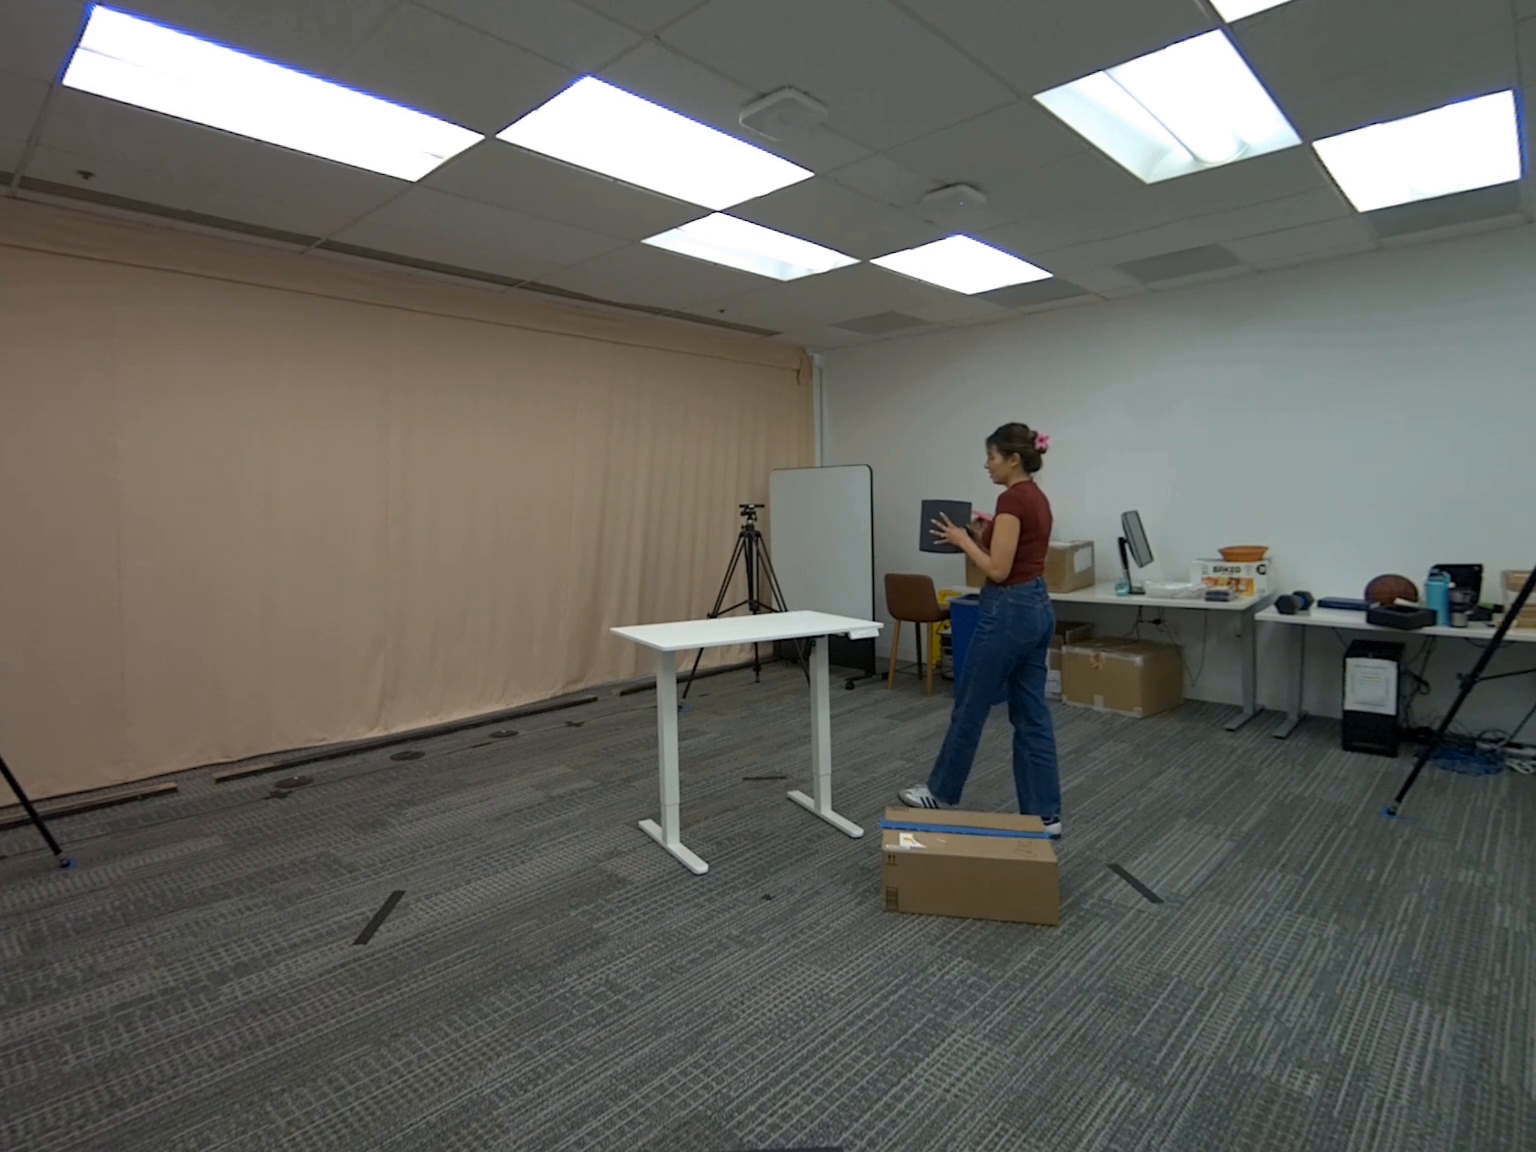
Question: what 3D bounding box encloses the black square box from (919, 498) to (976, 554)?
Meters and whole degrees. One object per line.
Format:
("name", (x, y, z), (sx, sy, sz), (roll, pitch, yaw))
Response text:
("black square box", (0.792, -0.223, 3.737), (0.161, 0.227, 0.210), (5, 4, 36))
